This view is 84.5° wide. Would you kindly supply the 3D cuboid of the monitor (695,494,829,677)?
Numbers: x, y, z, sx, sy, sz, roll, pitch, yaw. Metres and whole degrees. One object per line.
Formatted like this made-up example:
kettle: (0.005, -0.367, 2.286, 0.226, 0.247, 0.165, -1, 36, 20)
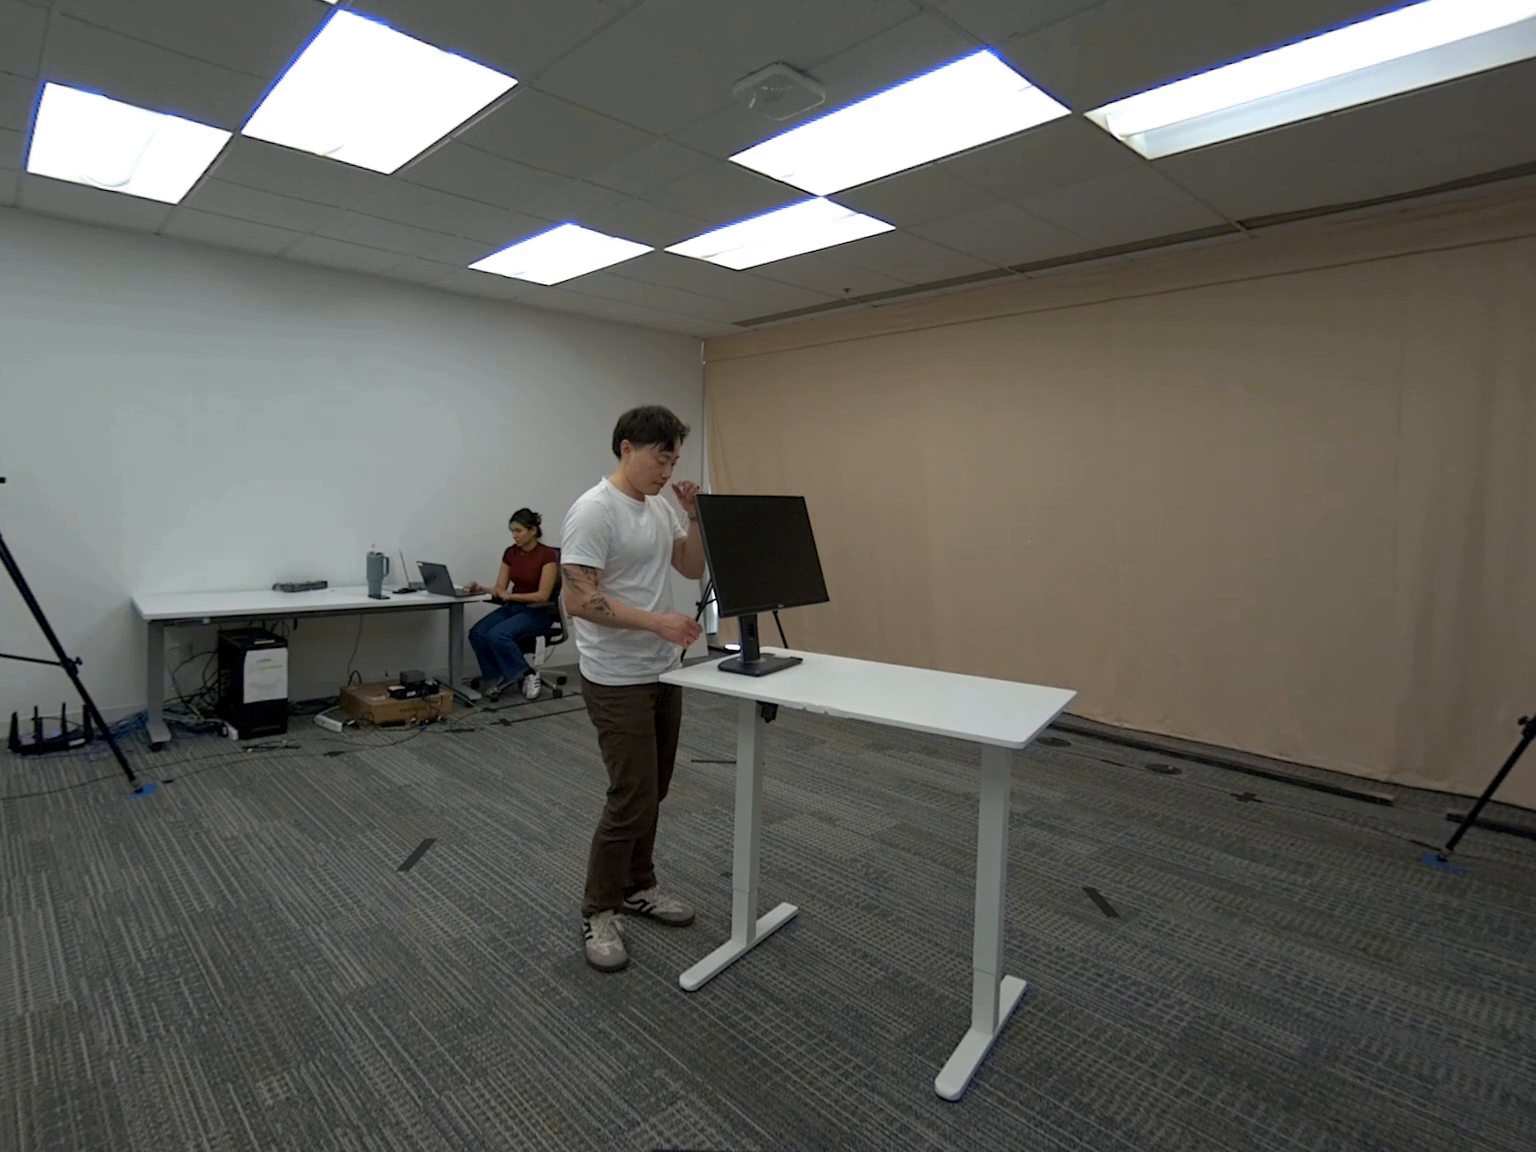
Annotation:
monitor: (-0.035, 0.018, 2.522, 0.191, 0.522, 0.528, 0, 3, 35)
